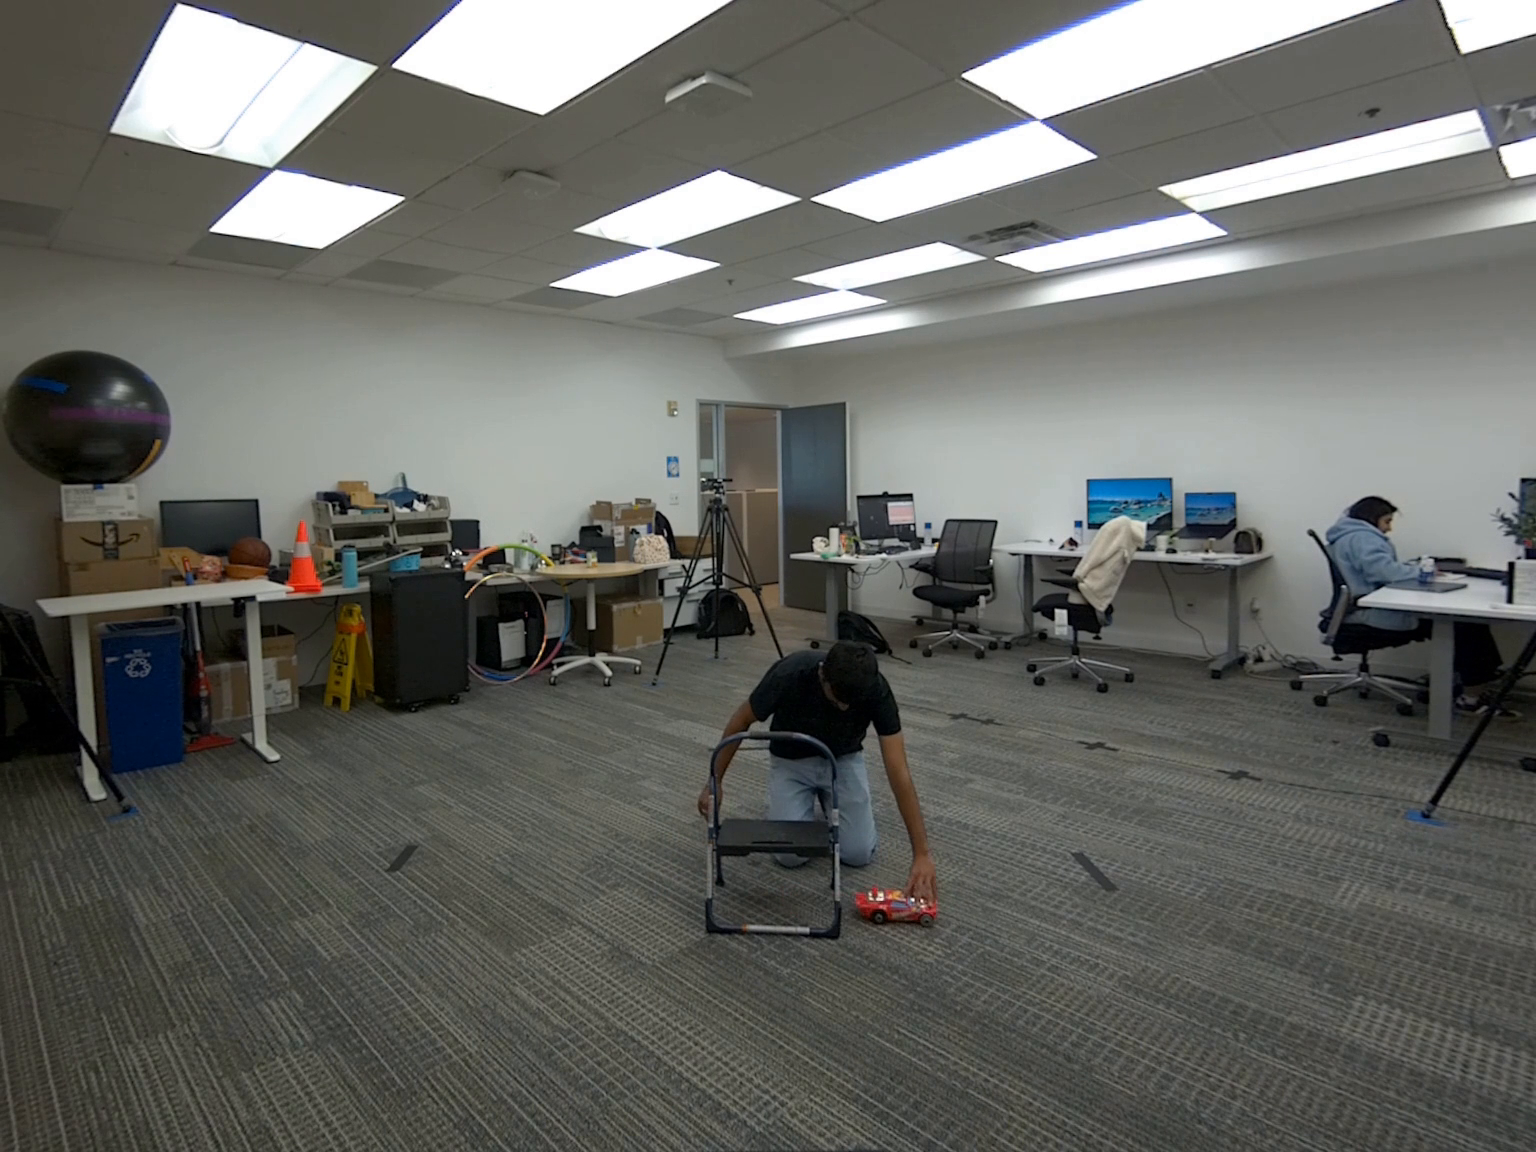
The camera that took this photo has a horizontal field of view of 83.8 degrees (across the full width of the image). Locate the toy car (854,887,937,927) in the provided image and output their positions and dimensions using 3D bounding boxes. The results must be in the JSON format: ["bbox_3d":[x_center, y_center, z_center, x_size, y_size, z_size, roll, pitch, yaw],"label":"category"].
[{"bbox_3d":[0.383,1.053,2.713,0.256,0.083,0.130,11,7,5],"label":"toy car"}]
